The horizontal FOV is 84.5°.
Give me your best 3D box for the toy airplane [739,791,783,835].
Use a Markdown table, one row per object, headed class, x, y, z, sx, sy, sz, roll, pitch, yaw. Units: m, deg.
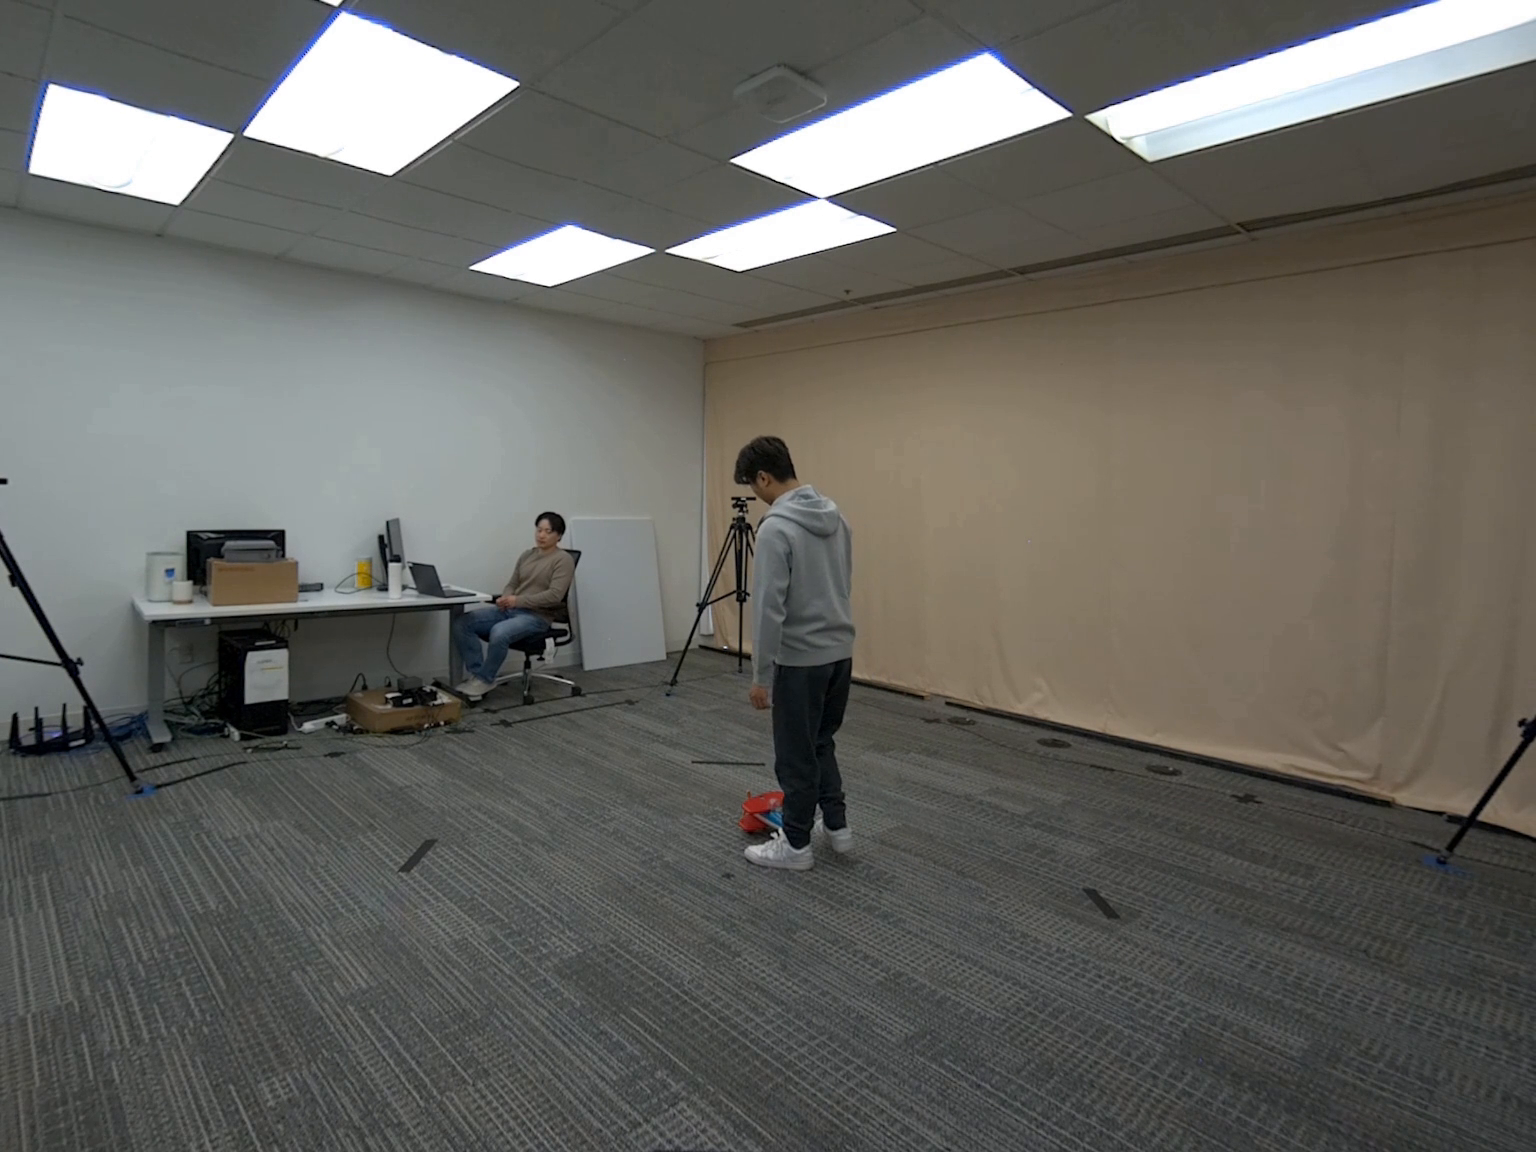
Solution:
| class | x | y | z | sx | sy | sz | roll | pitch | yaw |
| --- | --- | --- | --- | --- | --- | --- | --- | --- | --- |
| toy airplane | 0.012 | 1.005 | 3.498 | 0.262 | 0.156 | 0.248 | 0 | 4 | 16 |
